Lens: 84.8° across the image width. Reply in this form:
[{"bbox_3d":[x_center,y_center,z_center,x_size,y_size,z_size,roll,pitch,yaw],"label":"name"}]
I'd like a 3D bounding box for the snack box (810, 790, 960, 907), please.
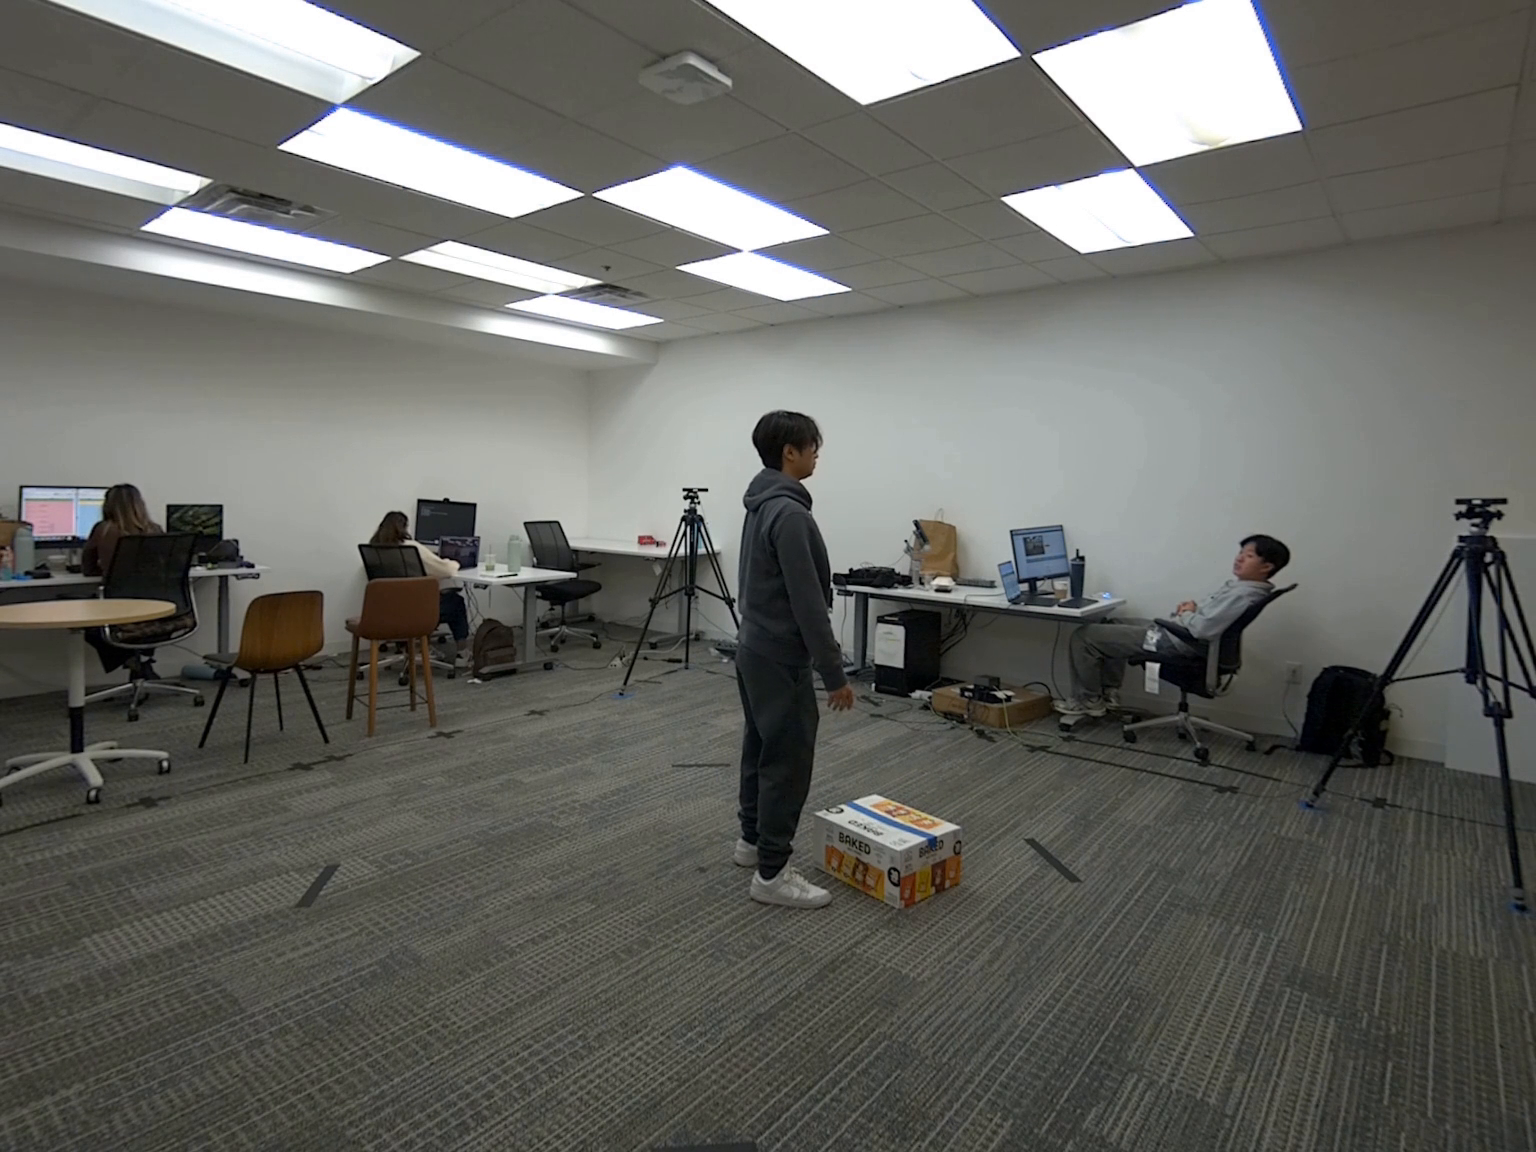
[{"bbox_3d":[0.423,0.981,3.087,0.330,0.205,0.419,-3,7,-41],"label":"snack box"}]
